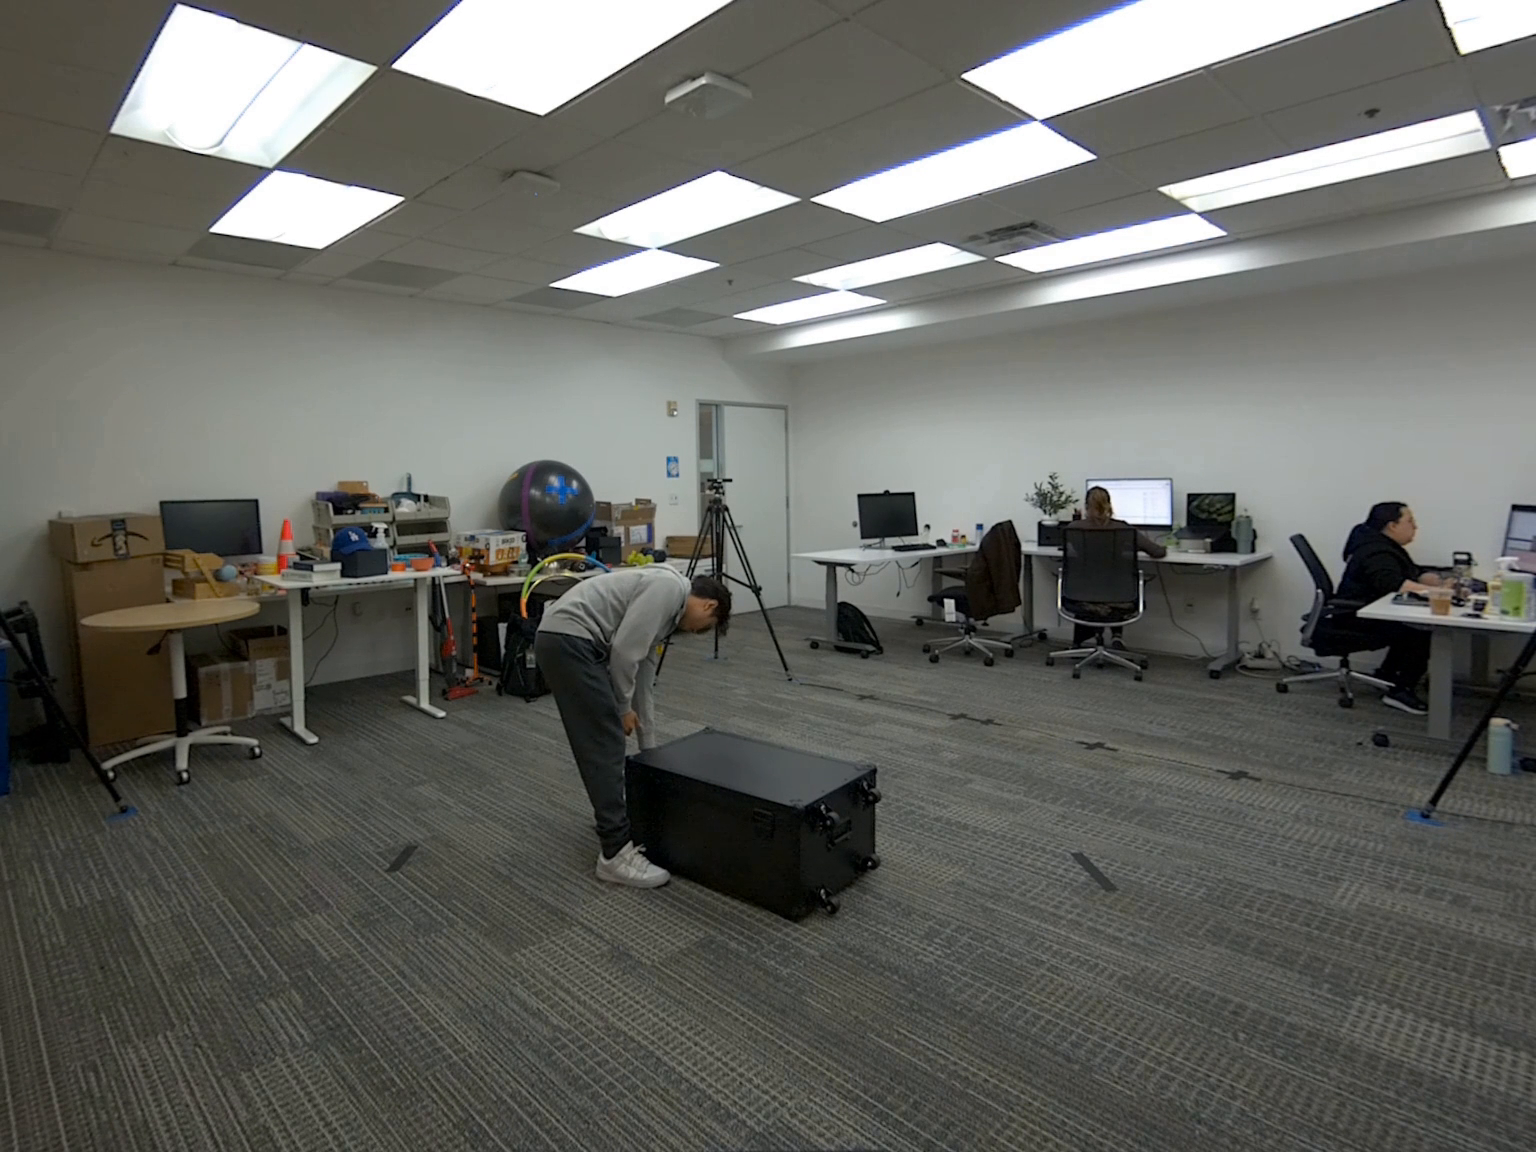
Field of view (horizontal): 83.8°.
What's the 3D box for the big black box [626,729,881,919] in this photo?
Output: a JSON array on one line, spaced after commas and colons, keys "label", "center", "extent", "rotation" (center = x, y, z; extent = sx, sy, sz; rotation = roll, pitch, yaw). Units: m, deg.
[{"label": "big black box", "center": [-0.046, 0.861, 3.063], "extent": [0.887, 0.395, 0.508], "rotation": [3, 6, 38]}]
